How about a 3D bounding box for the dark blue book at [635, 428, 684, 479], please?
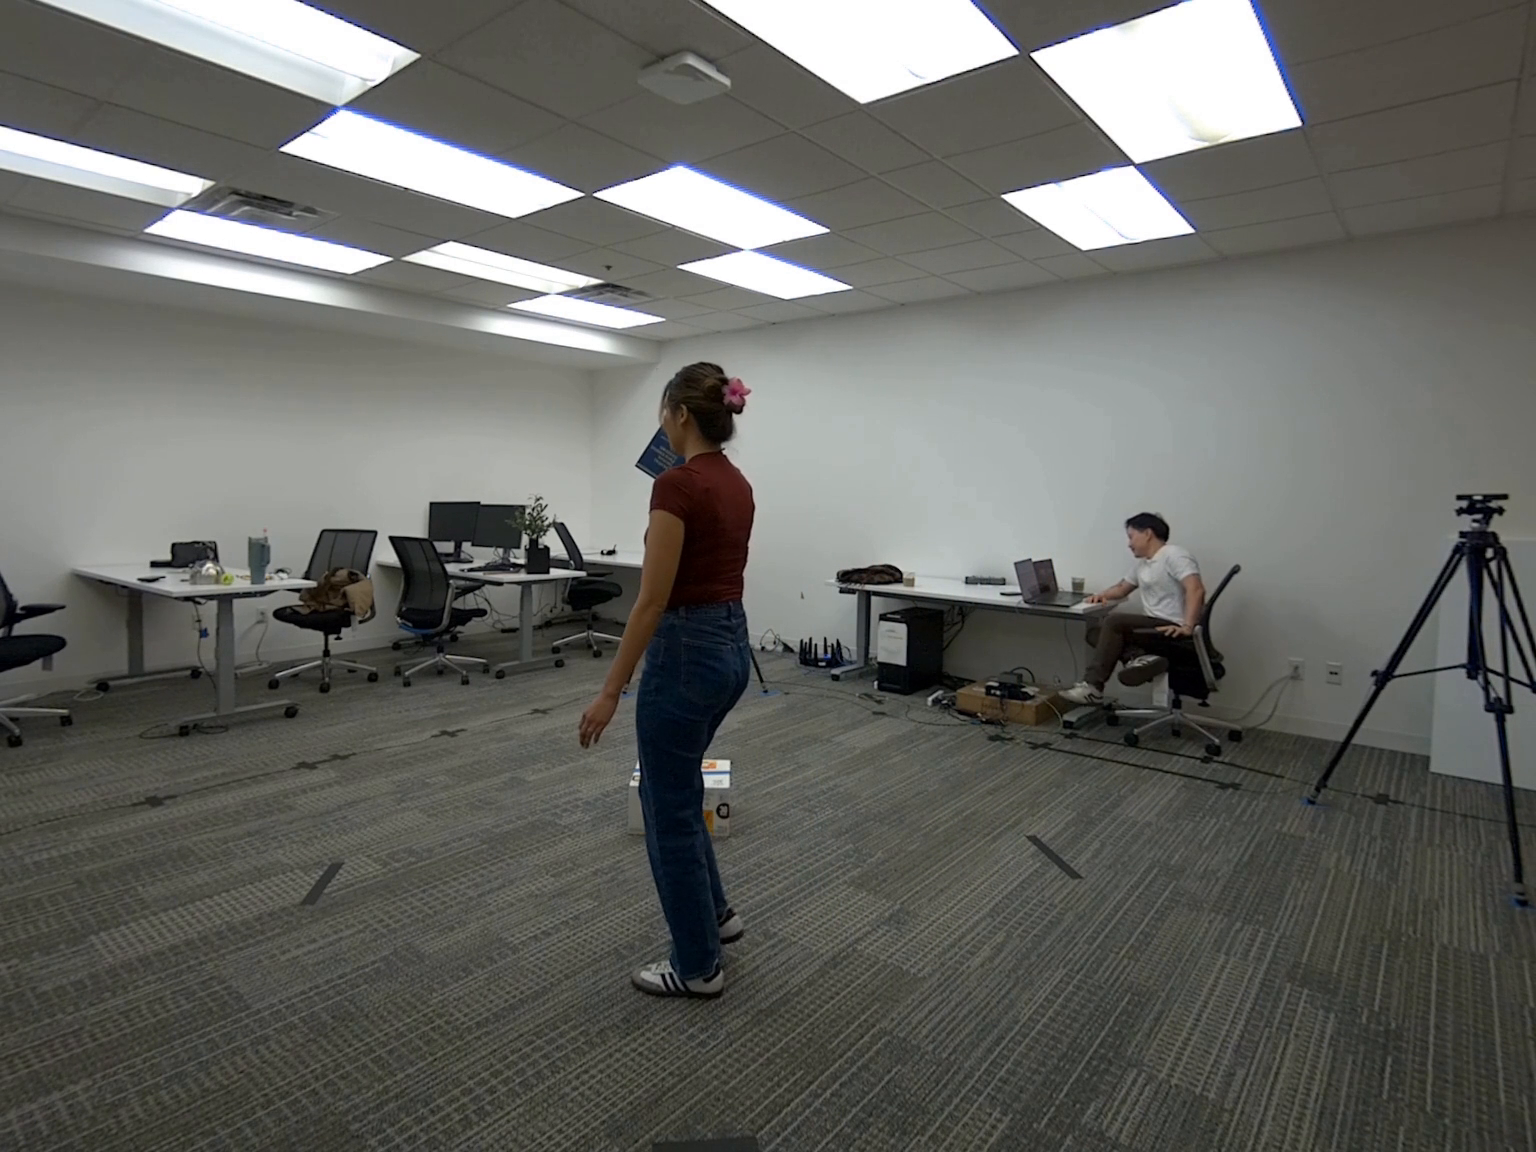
[{"bbox_3d":[-0.295,-0.403,2.679,0.162,0.246,0.045,32,-20,-5],"label":"dark blue book"}]
